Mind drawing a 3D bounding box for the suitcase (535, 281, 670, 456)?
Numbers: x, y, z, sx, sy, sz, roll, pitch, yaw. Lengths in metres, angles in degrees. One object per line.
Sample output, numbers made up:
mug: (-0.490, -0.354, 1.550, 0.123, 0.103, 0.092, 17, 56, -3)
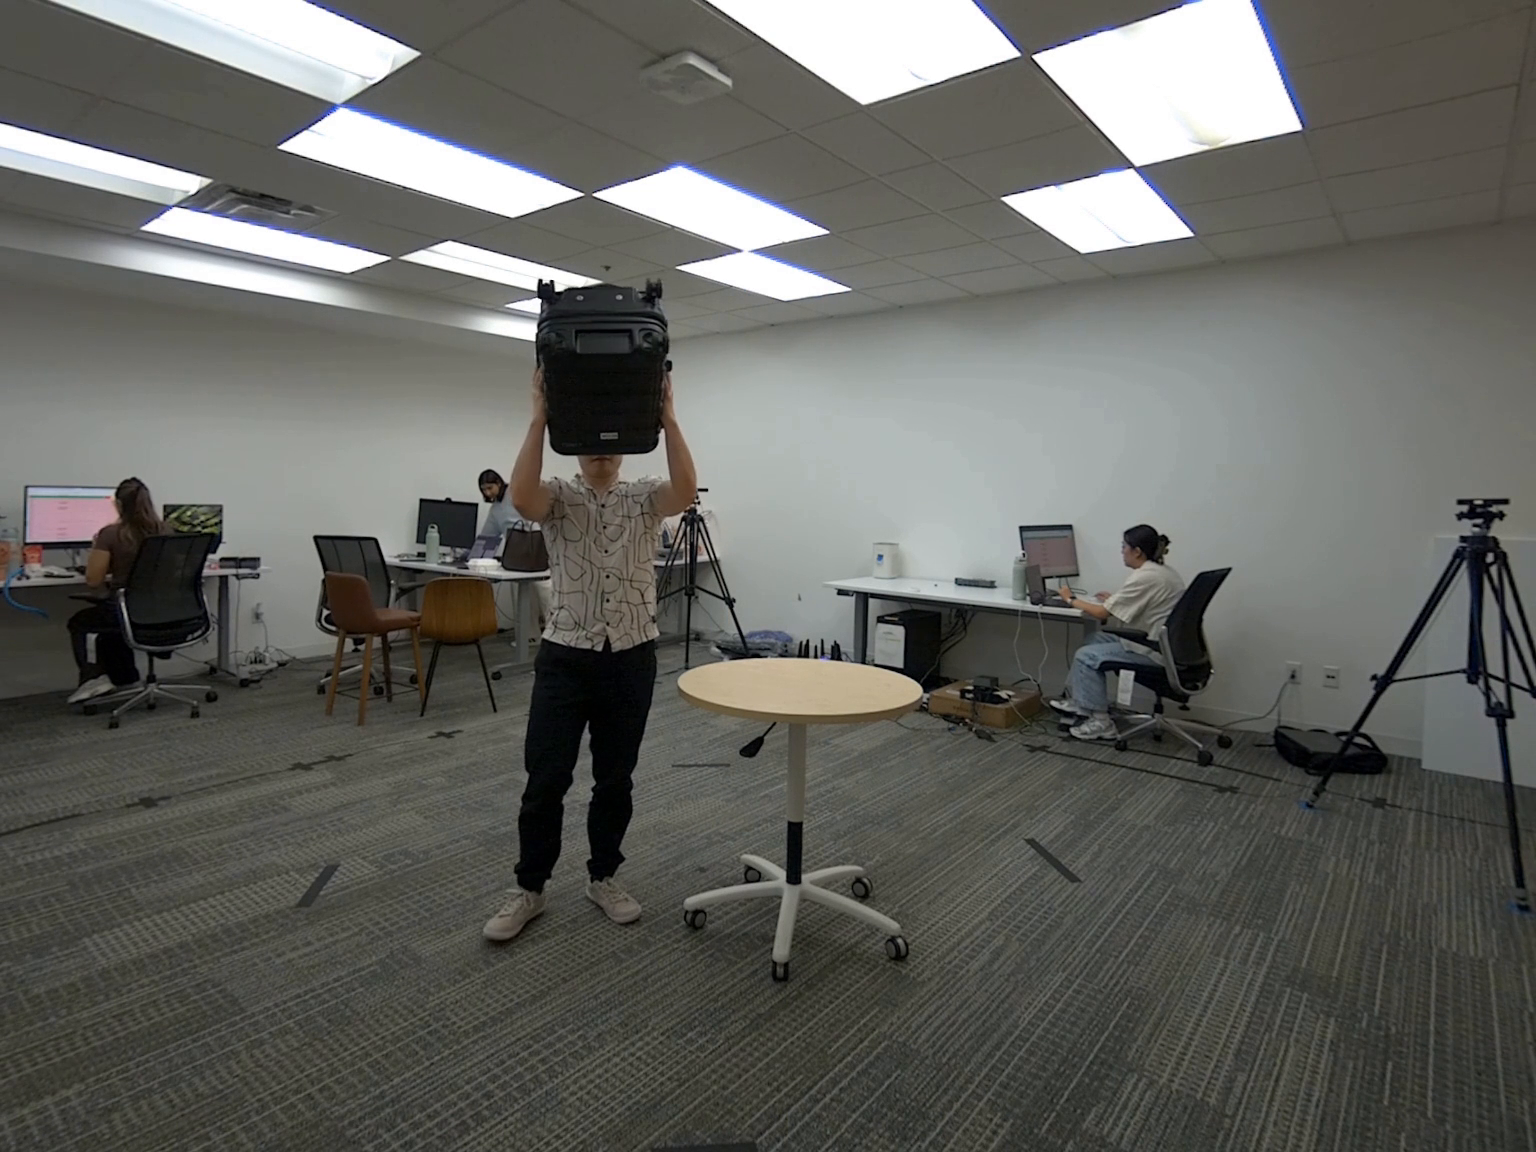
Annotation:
suitcase: (-0.497, -0.589, 2.471, 0.372, 0.255, 0.539, -1, -29, -10)
